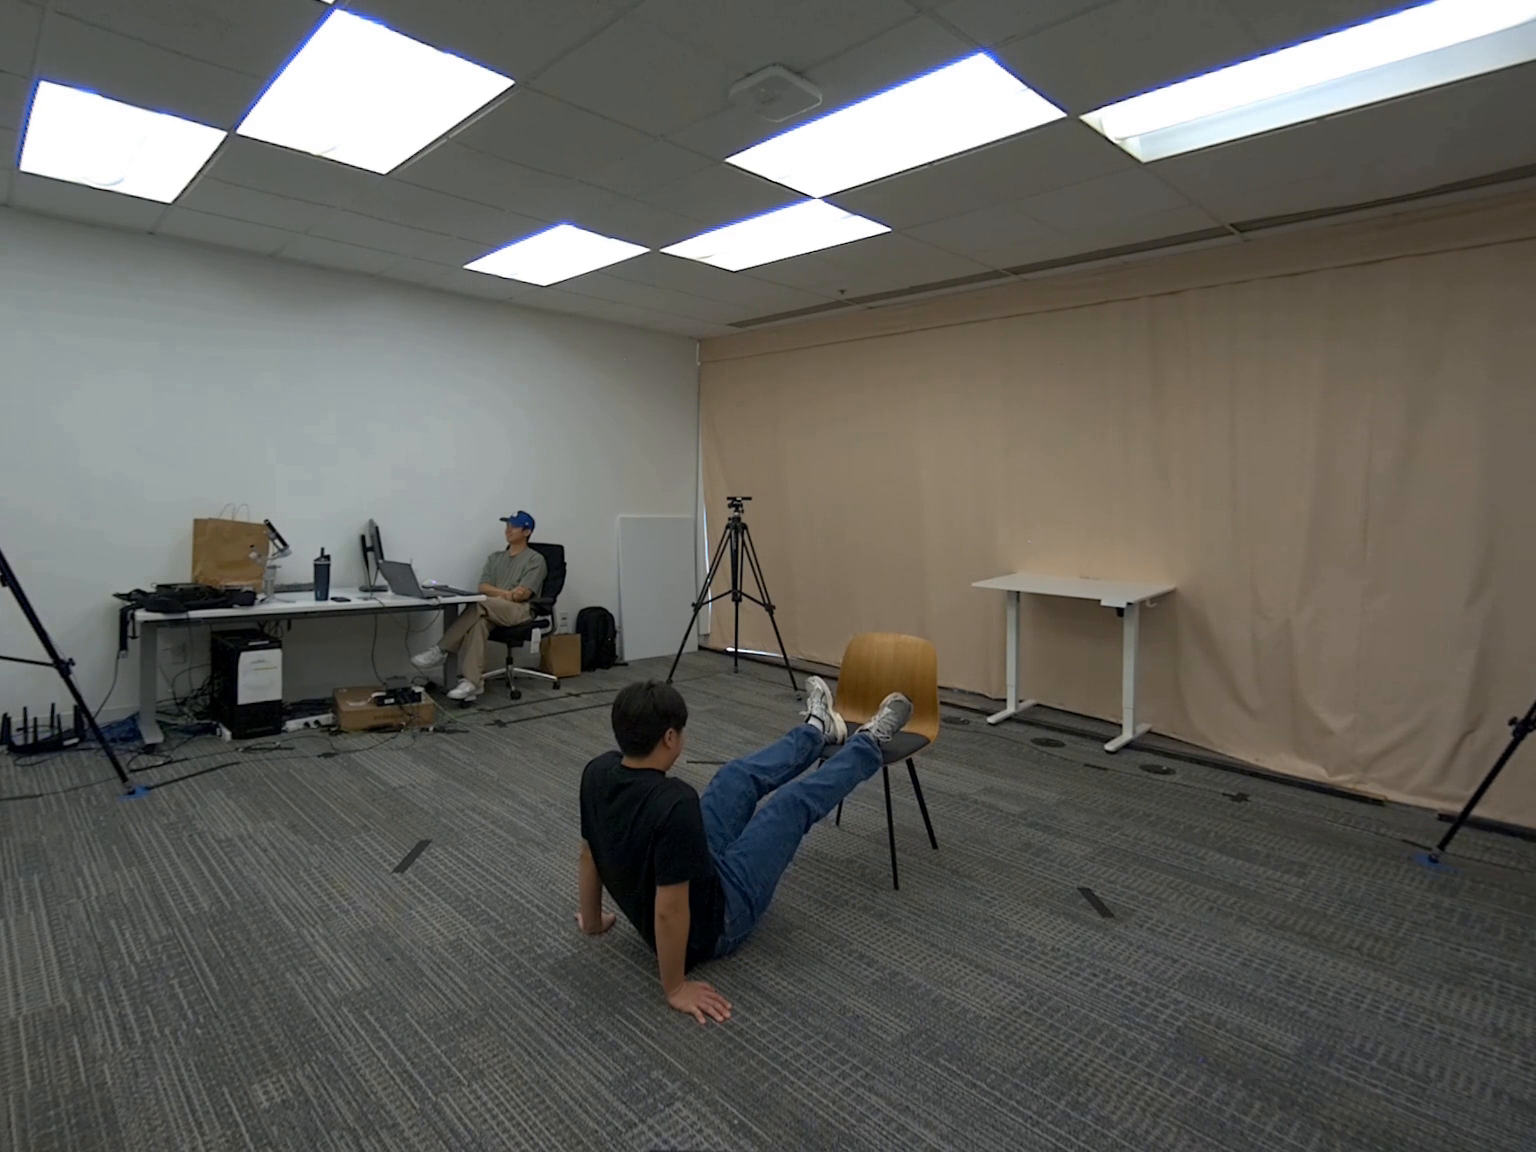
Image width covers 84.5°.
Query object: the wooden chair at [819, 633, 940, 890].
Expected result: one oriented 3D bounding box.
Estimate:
[{"bbox_3d":[0.383,0.675,3.294,0.489,0.878,0.511,3,0,31],"label":"wooden chair"}]
